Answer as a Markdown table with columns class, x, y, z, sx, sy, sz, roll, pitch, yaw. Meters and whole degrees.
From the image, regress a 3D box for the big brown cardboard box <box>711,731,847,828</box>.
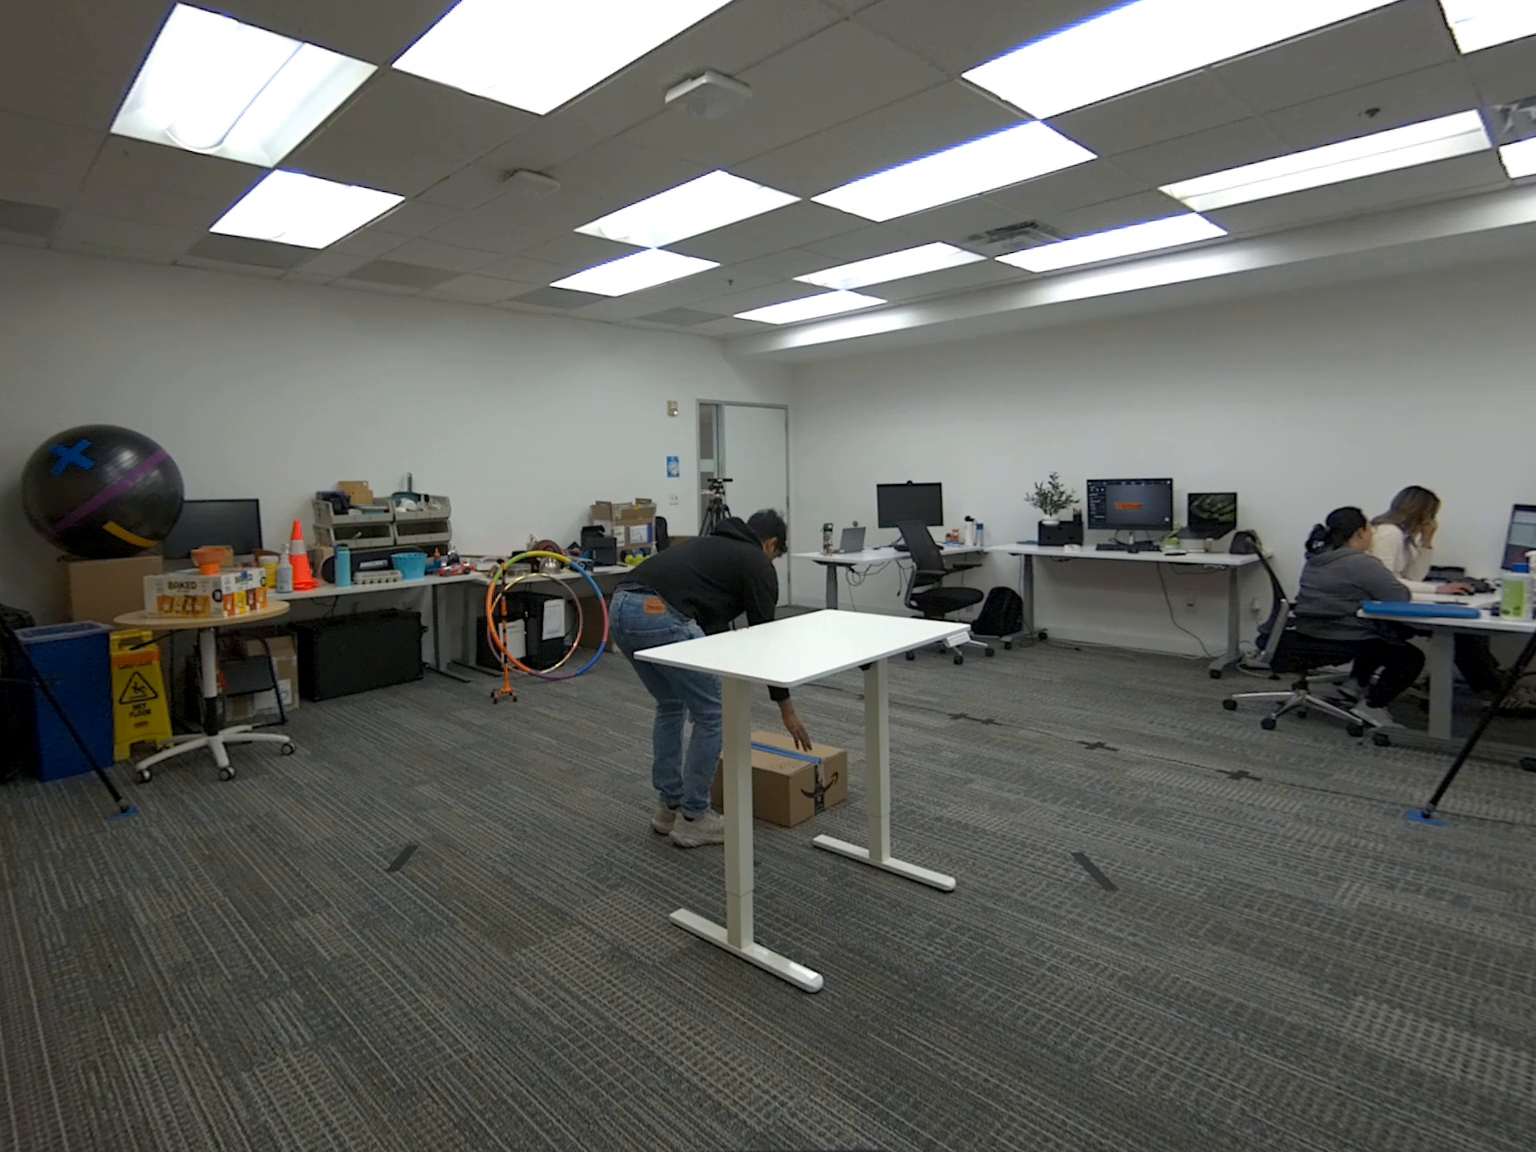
| class | x | y | z | sx | sy | sz | roll | pitch | yaw |
| --- | --- | --- | --- | --- | --- | --- | --- | --- | --- |
| big brown cardboard box | -0.008 | 0.861 | 3.743 | 0.607 | 0.232 | 0.407 | 5 | 8 | 39 |
